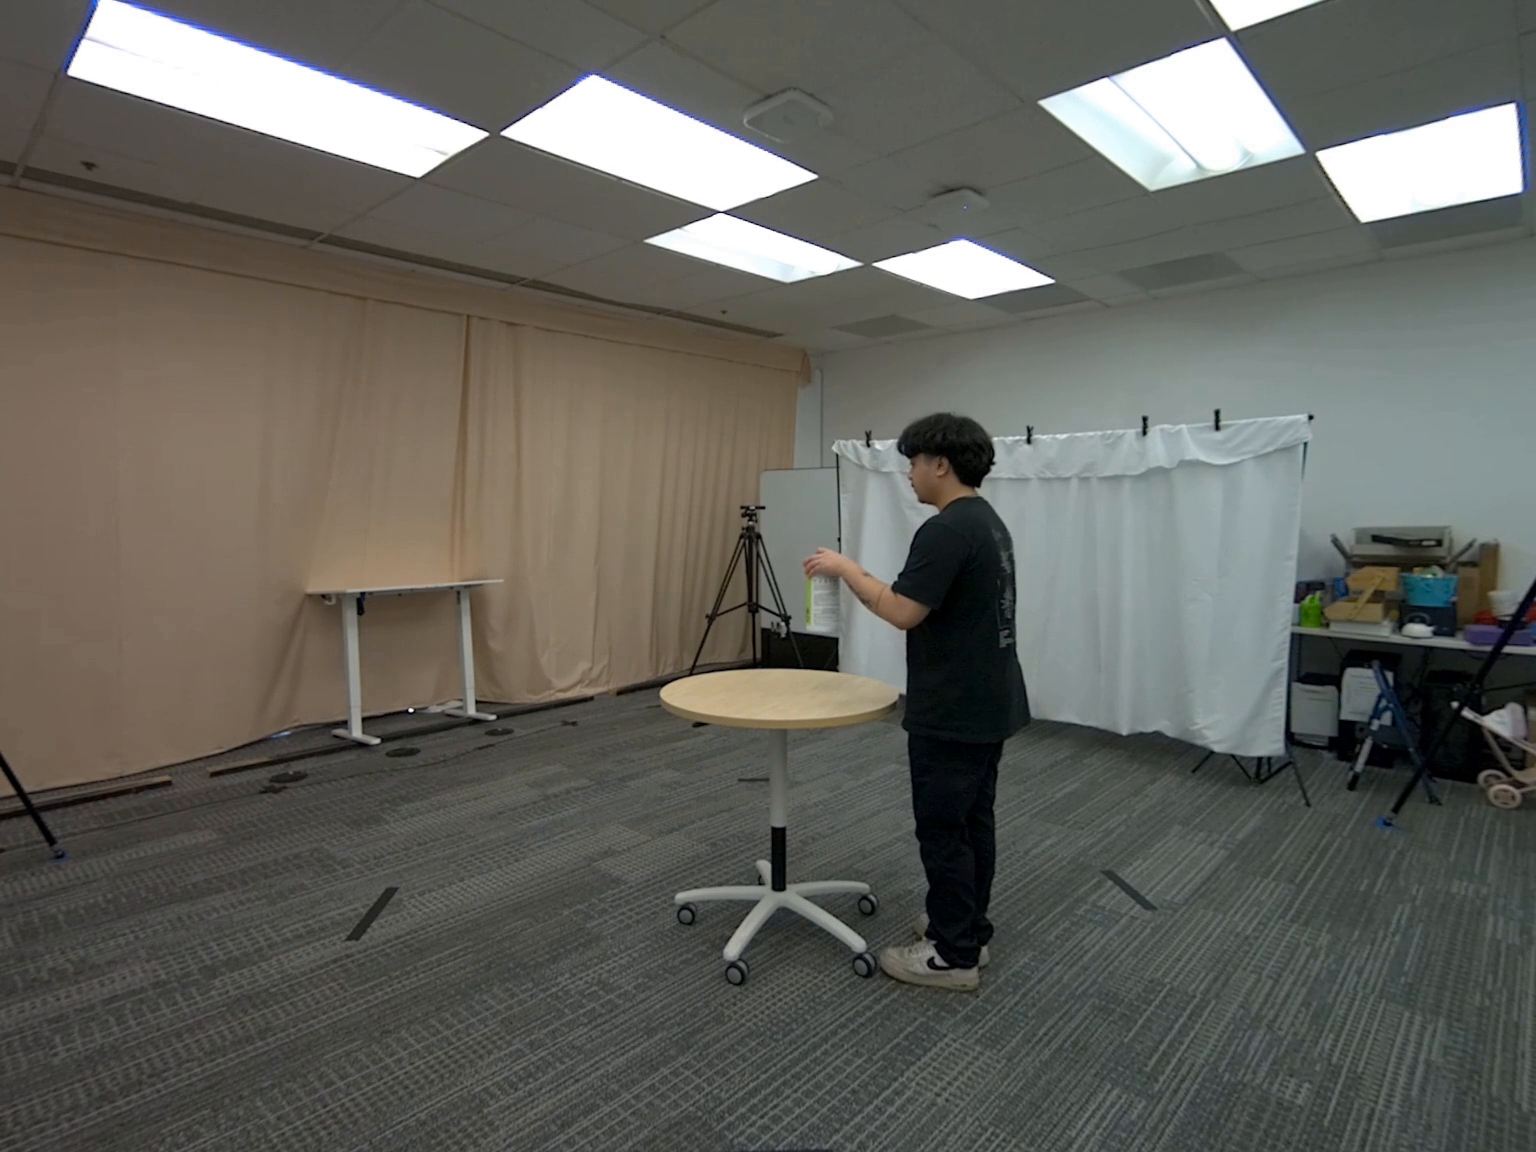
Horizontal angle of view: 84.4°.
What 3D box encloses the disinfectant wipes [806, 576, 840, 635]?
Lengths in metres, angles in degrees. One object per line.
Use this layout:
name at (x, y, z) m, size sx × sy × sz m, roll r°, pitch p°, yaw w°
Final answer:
disinfectant wipes at (0.176, 0.068, 2.628) m, size 0.118 × 0.217 × 0.118 m, roll 0°, pitch 2°, yaw -2°
